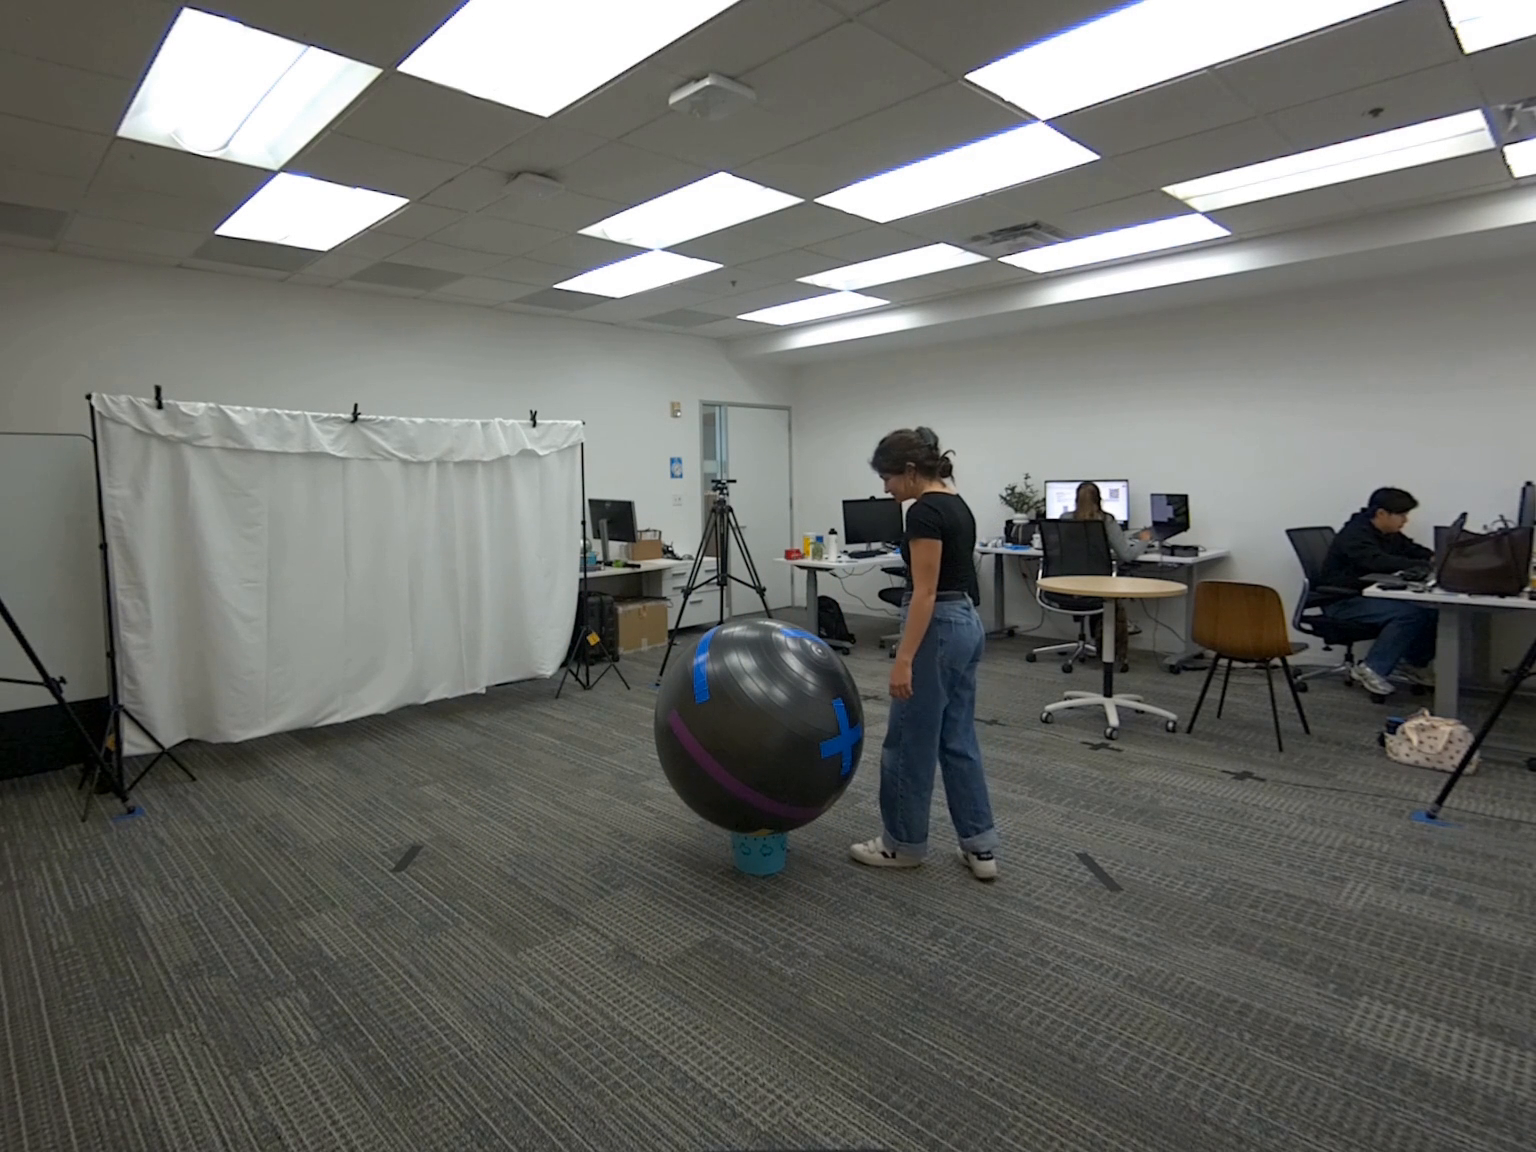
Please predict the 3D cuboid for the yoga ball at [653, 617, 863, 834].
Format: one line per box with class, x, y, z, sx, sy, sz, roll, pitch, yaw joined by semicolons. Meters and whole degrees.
yoga ball;-0.039;0.534;3.085;0.757;0.755;0.762;-1;5;-2
